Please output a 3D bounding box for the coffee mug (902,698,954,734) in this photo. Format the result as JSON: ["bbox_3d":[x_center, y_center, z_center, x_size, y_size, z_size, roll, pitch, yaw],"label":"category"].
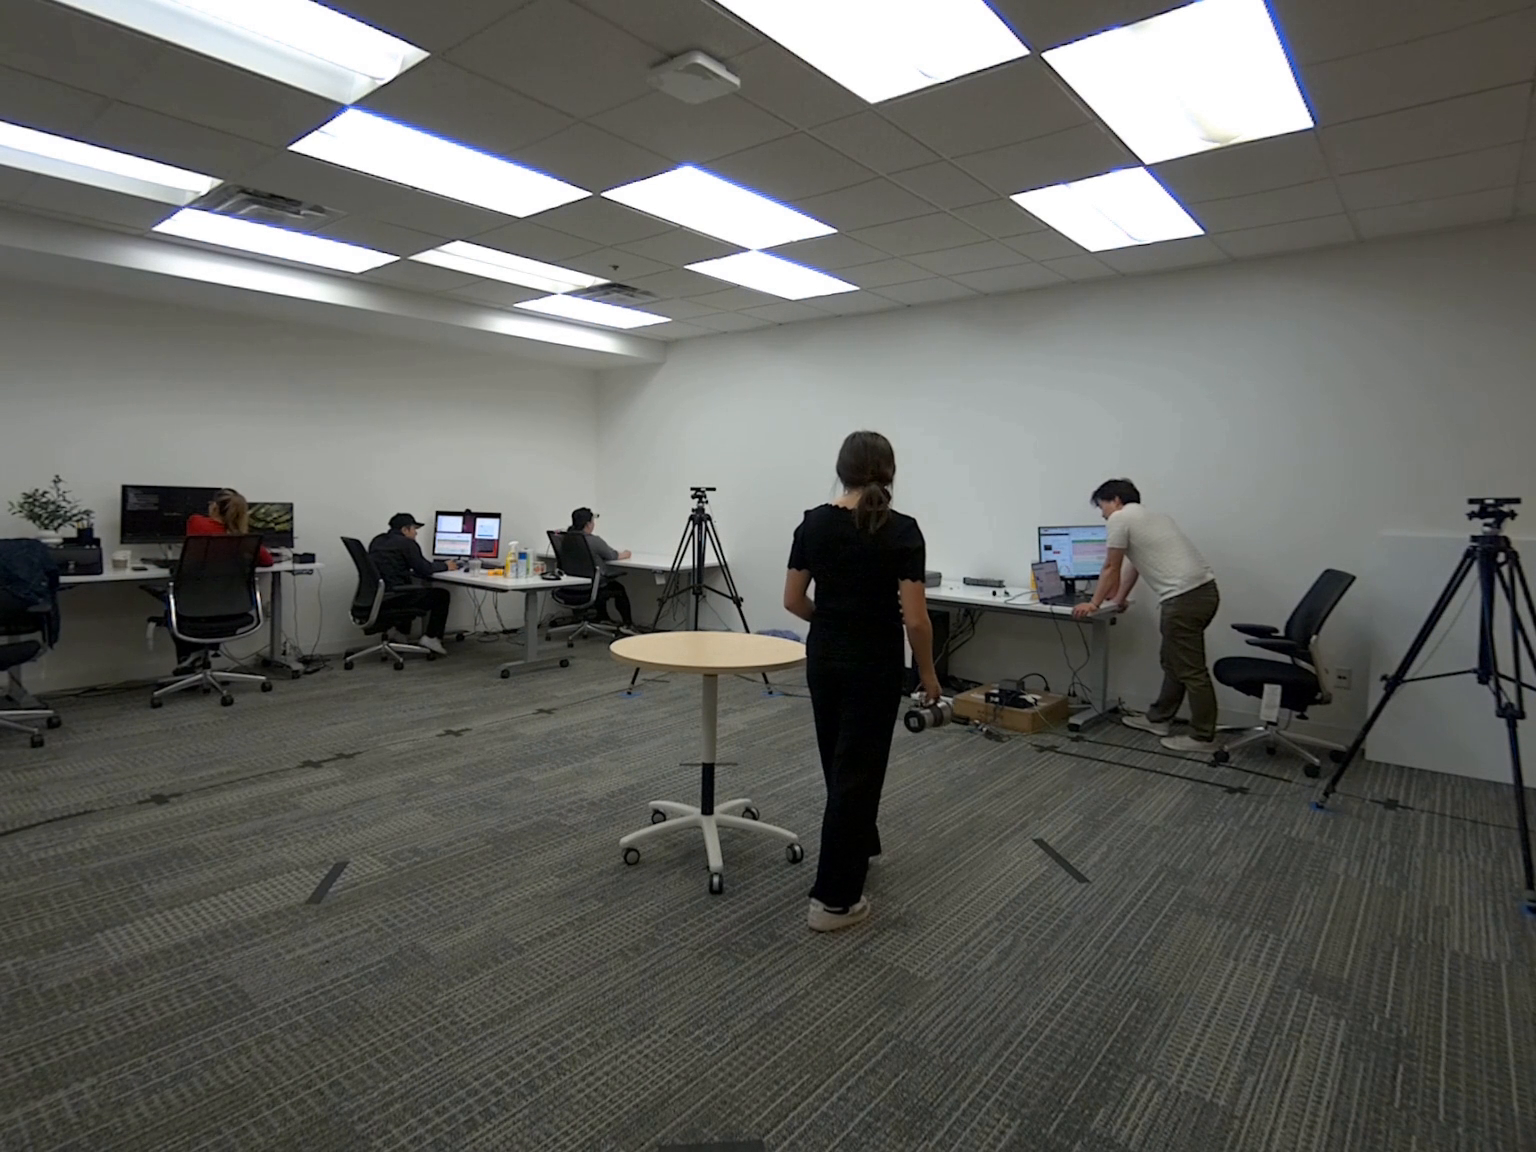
[{"bbox_3d":[0.499,0.431,2.774,0.196,0.125,0.088,-1,-33,-46],"label":"coffee mug"}]
